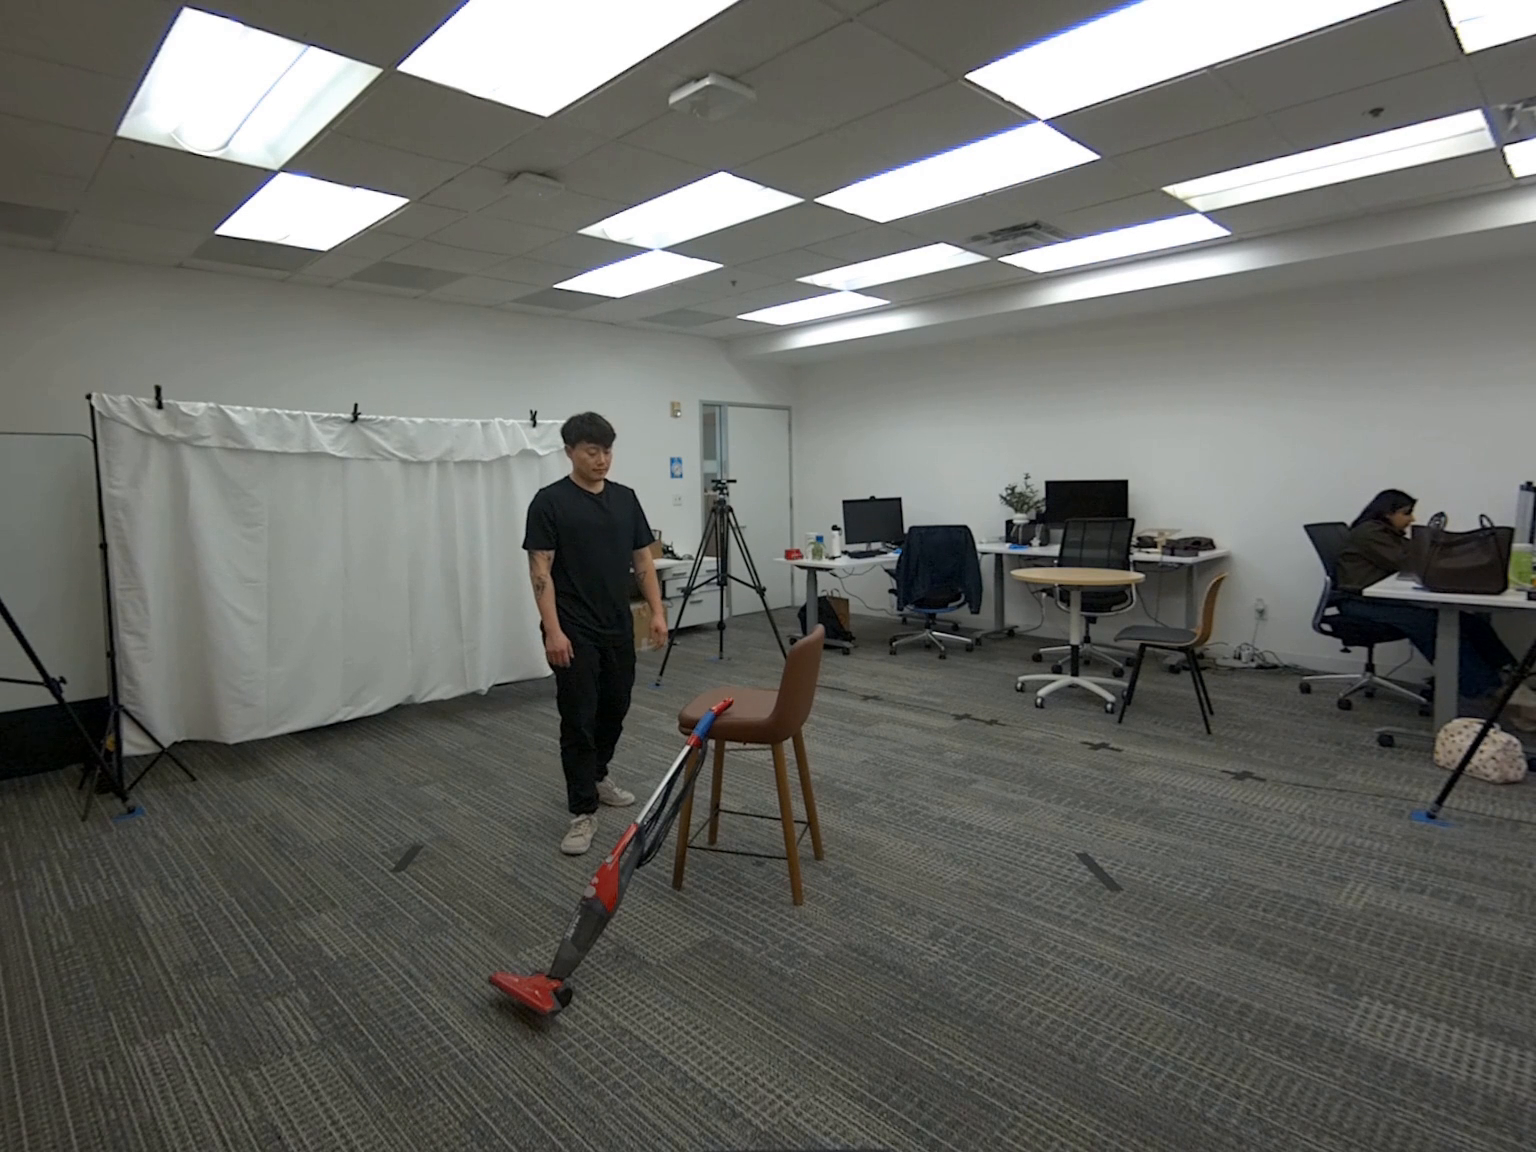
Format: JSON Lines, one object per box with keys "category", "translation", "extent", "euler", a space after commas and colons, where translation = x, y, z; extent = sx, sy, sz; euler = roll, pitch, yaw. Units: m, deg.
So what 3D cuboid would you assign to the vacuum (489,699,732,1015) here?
{"category": "vacuum", "translation": [-0.371, 0.788, 2.575], "extent": [0.260, 0.139, 1.053], "euler": [6, 45, 35]}
